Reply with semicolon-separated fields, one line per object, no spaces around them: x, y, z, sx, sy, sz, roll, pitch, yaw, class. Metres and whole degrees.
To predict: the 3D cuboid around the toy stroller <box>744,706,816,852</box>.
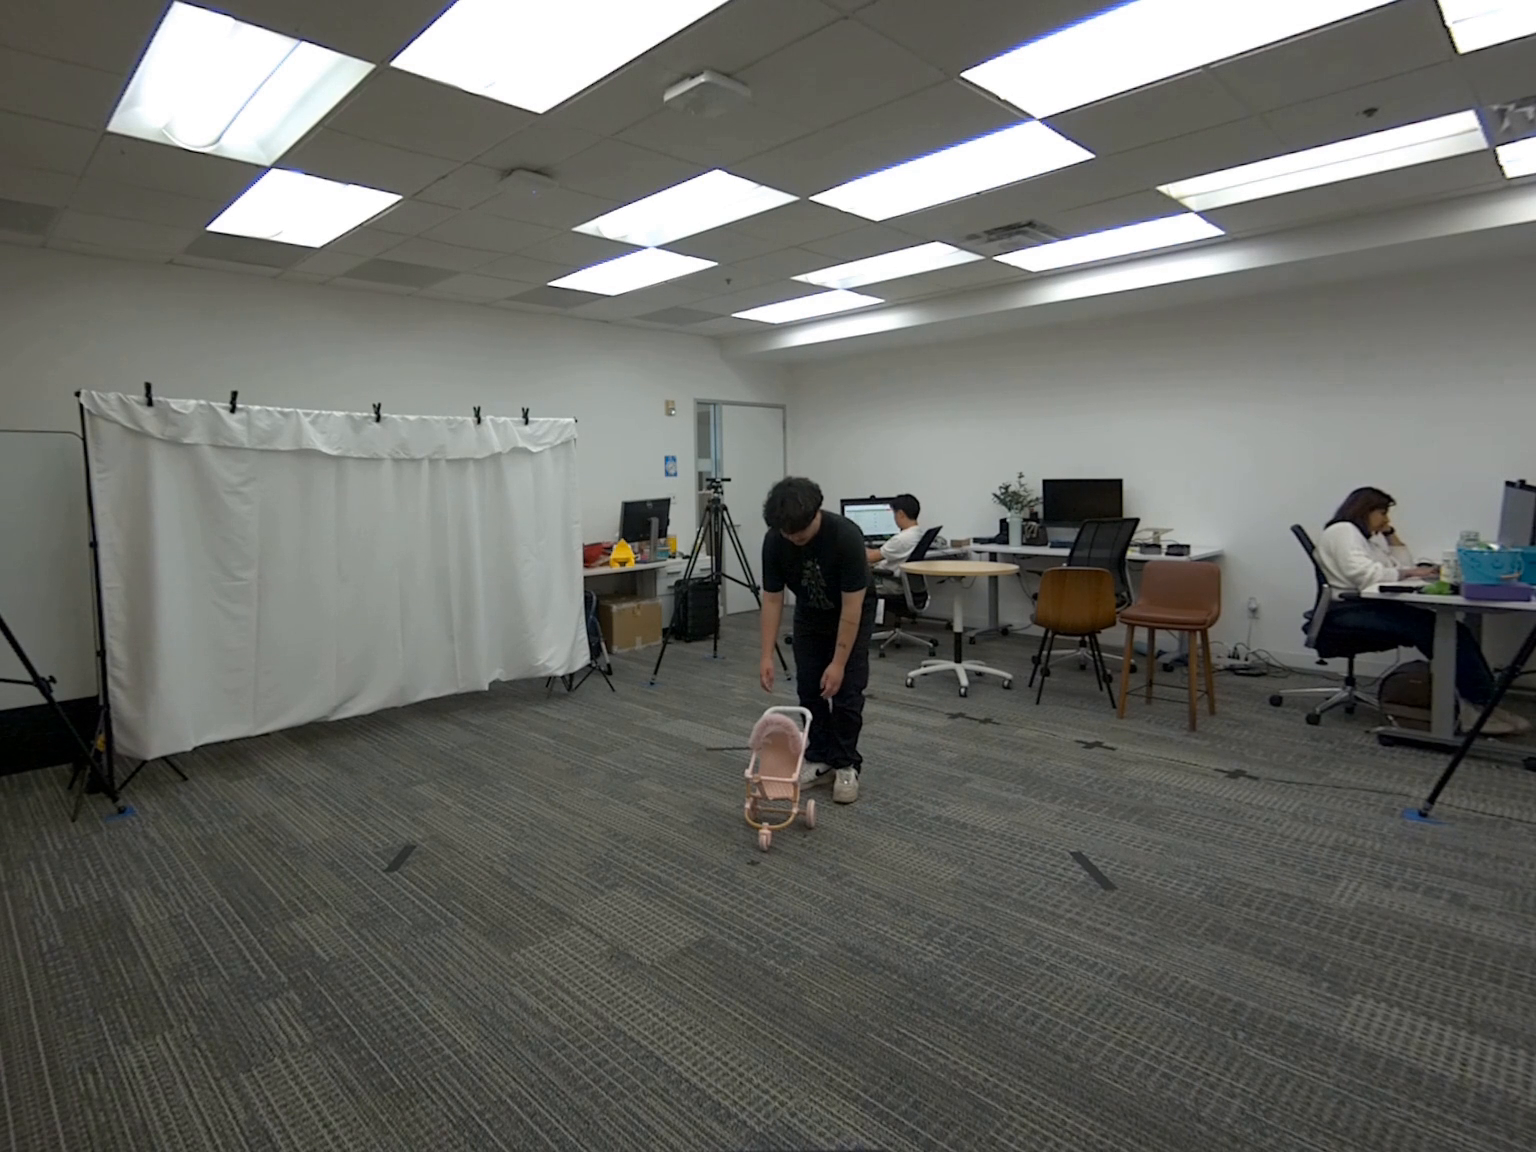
0.030;0.785;3.377;0.287;0.540;0.332;0;-11;21;toy stroller
